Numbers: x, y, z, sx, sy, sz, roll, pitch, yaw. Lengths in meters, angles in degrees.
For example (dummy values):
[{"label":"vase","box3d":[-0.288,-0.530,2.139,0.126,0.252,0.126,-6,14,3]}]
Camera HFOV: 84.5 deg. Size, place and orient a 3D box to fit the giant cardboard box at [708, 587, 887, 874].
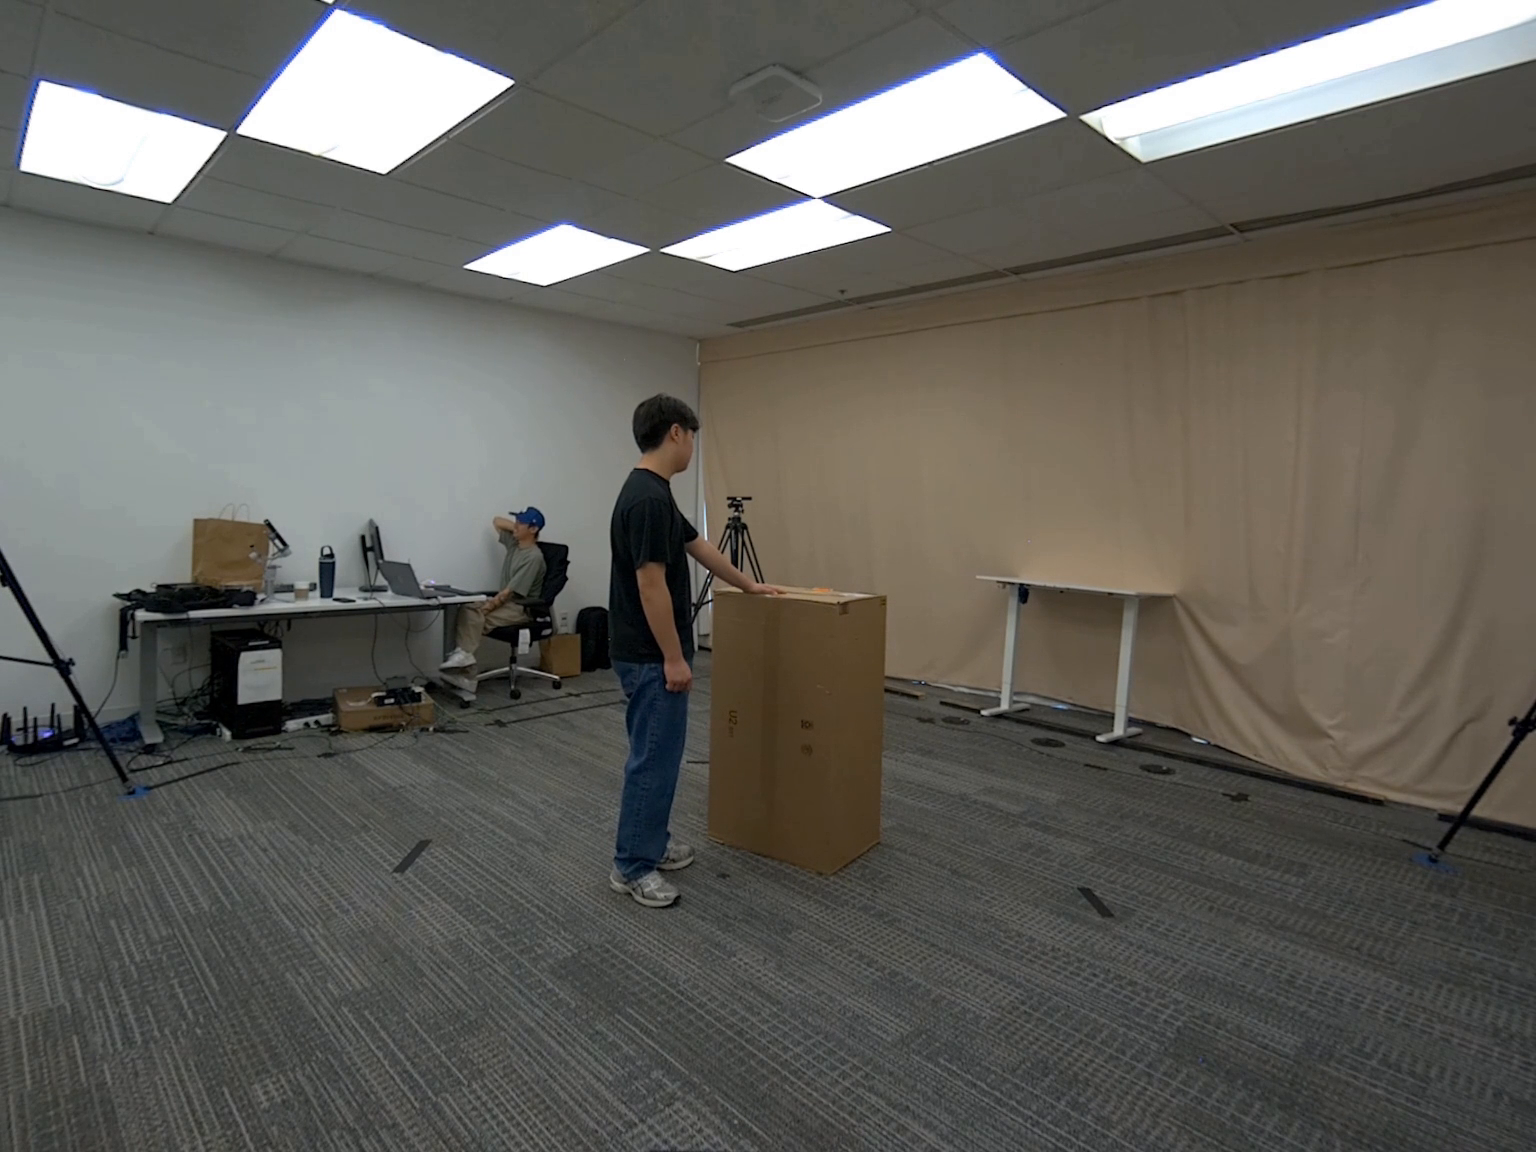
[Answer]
[{"label":"giant cardboard box","box3d":[0.116,0.573,3.432,0.598,1.025,0.437,4,3,36]}]
